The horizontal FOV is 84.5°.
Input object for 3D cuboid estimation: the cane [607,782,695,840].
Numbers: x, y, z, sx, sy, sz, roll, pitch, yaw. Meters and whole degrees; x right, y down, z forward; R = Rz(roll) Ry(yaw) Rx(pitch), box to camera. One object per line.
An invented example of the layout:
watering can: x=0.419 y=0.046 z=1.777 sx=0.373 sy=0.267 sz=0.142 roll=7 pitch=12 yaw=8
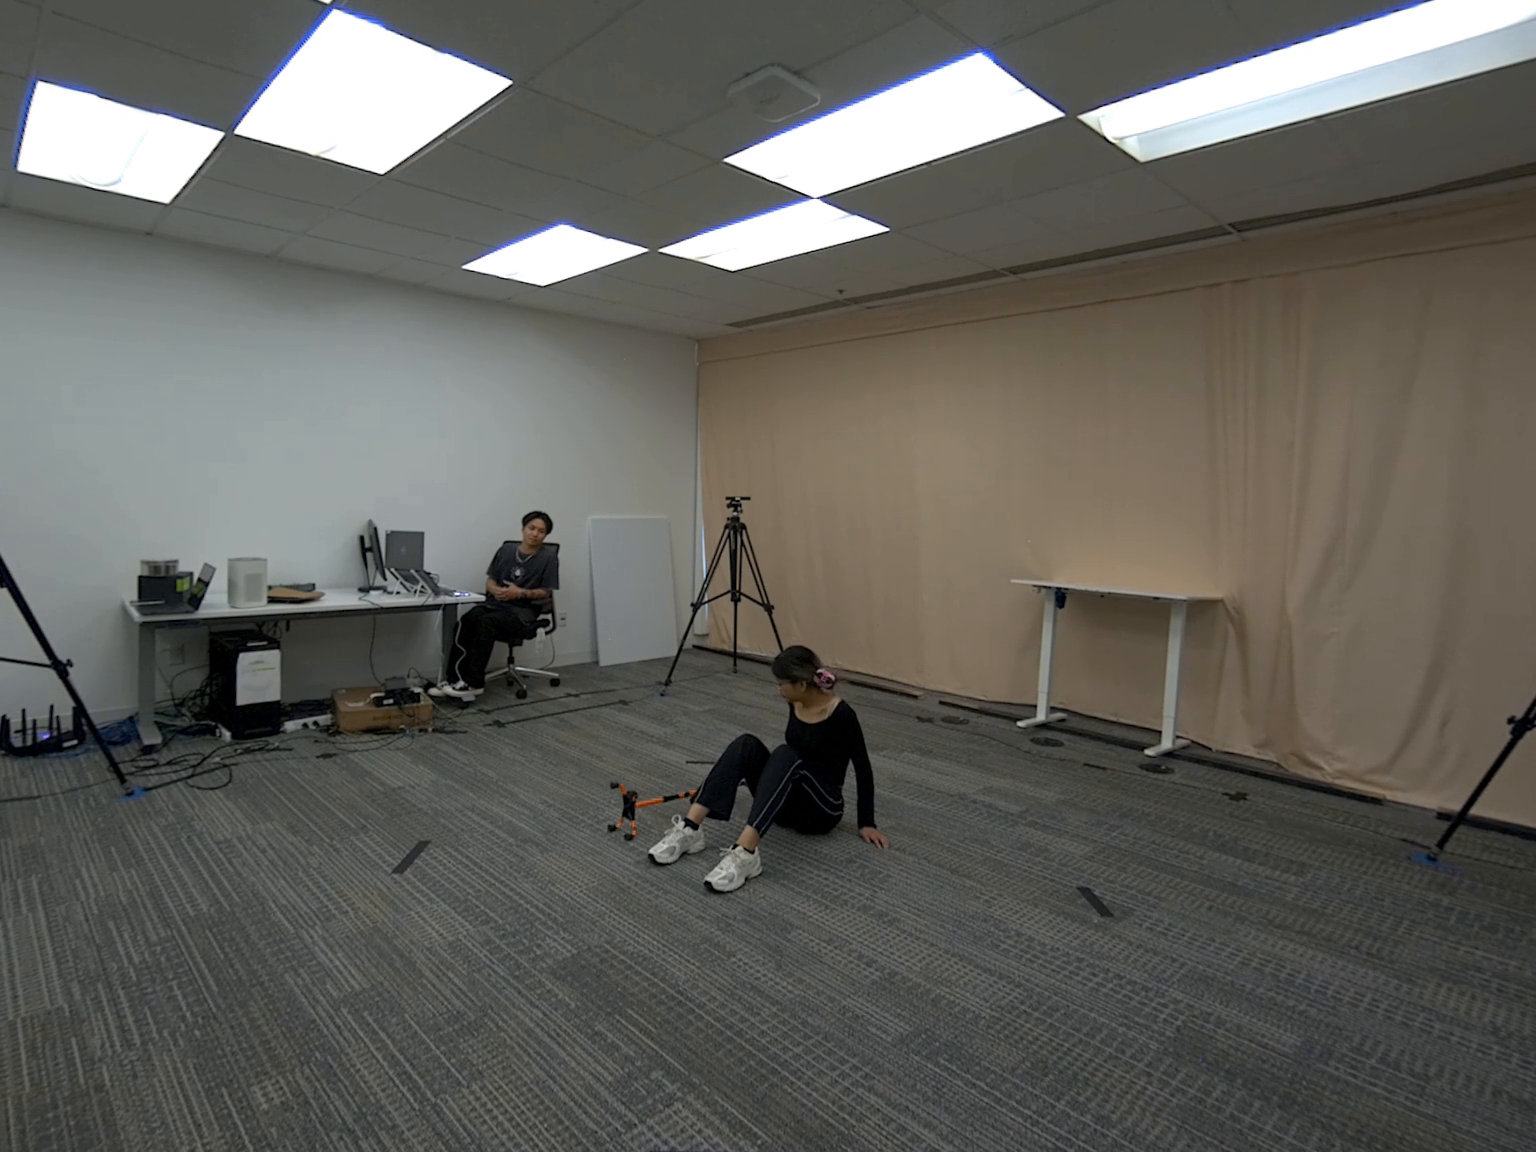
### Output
cane: x=-0.292 y=0.954 z=3.744 sx=0.886 sy=0.206 sz=0.155 roll=0 pitch=3 yaw=-42
